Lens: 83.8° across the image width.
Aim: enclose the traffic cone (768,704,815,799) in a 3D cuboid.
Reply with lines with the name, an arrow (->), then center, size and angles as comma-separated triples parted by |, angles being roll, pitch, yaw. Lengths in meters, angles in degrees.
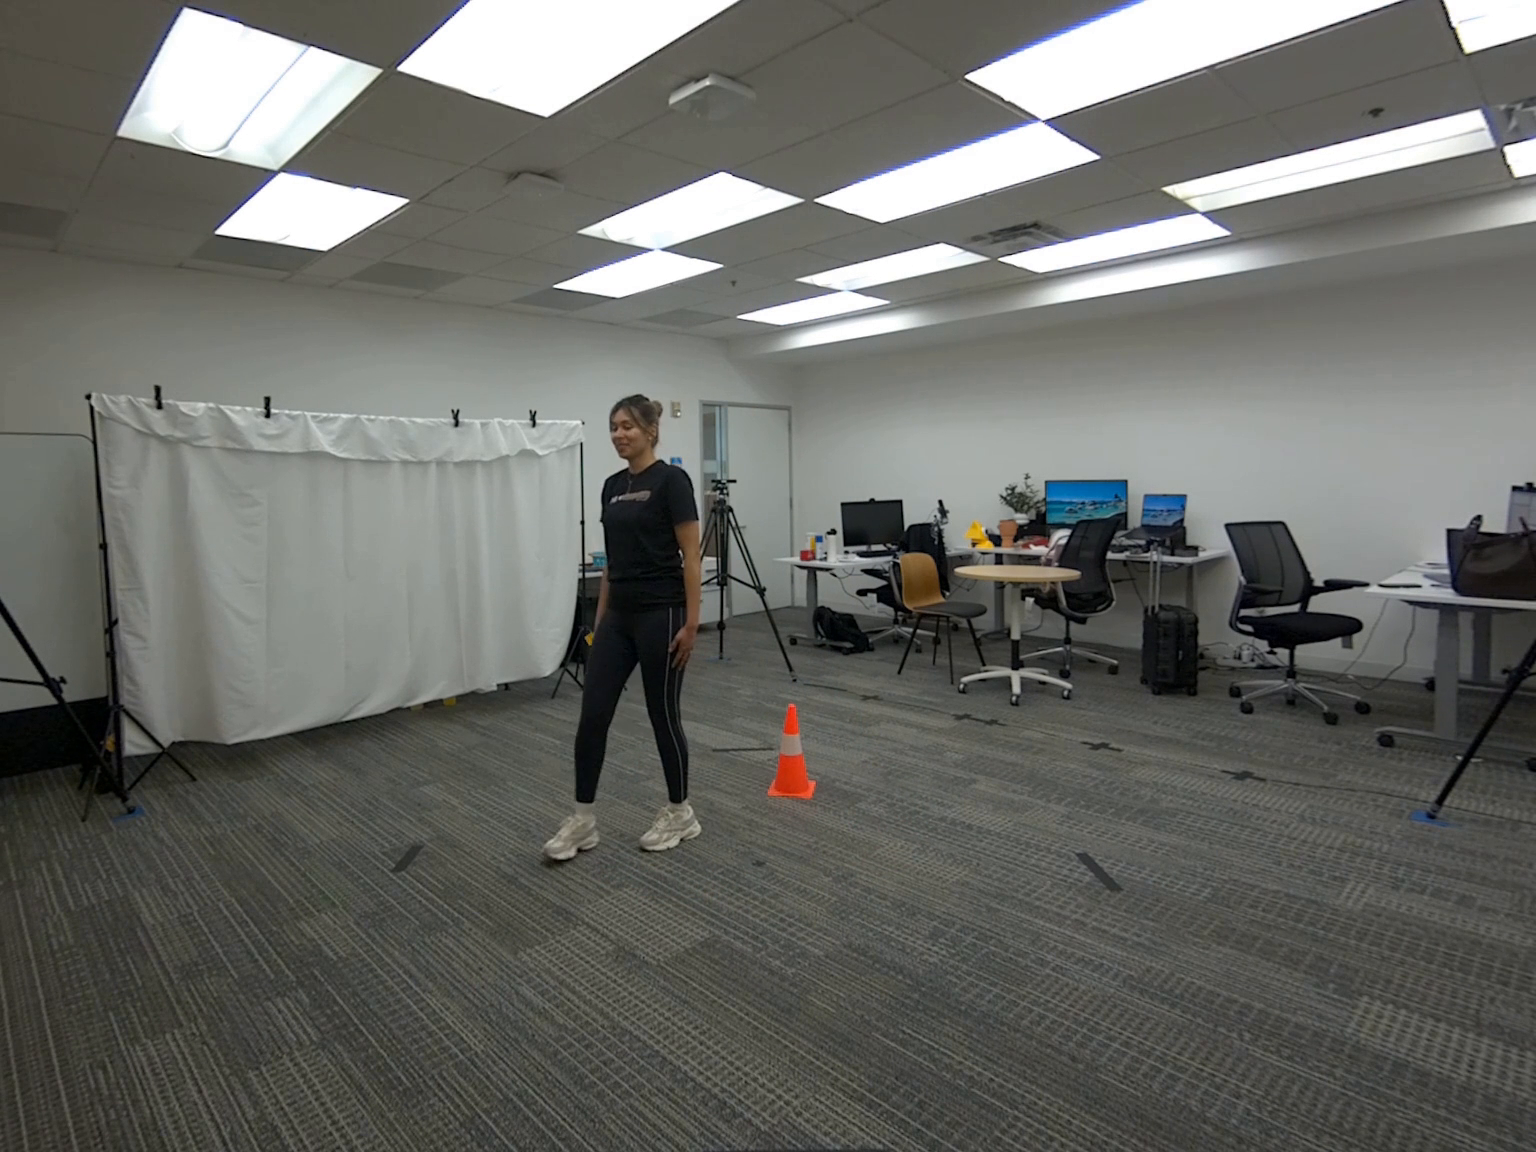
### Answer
traffic cone -> 0.108, 0.777, 3.852 | 0.206, 0.382, 0.203 | 0, 3, 14
